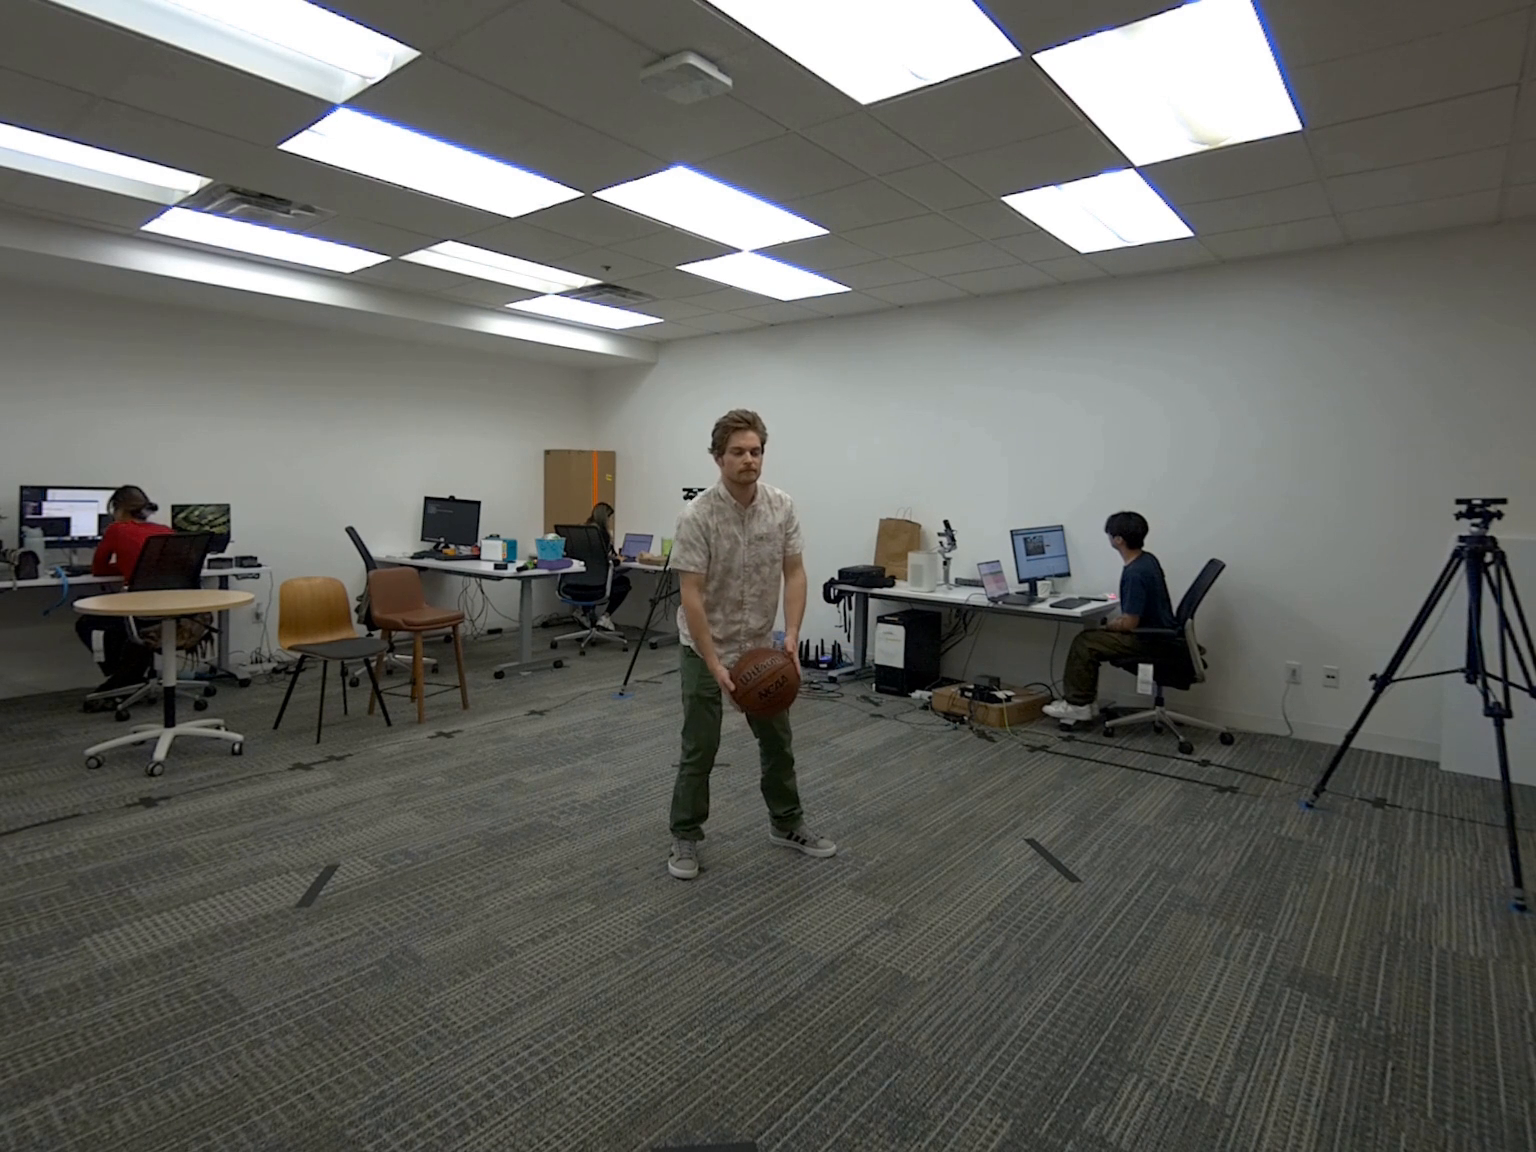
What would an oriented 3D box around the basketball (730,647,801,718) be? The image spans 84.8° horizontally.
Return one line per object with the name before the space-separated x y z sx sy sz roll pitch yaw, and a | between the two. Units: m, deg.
basketball | -0.019 0.351 2.922 0.236 0.235 0.237 1 4 -2
